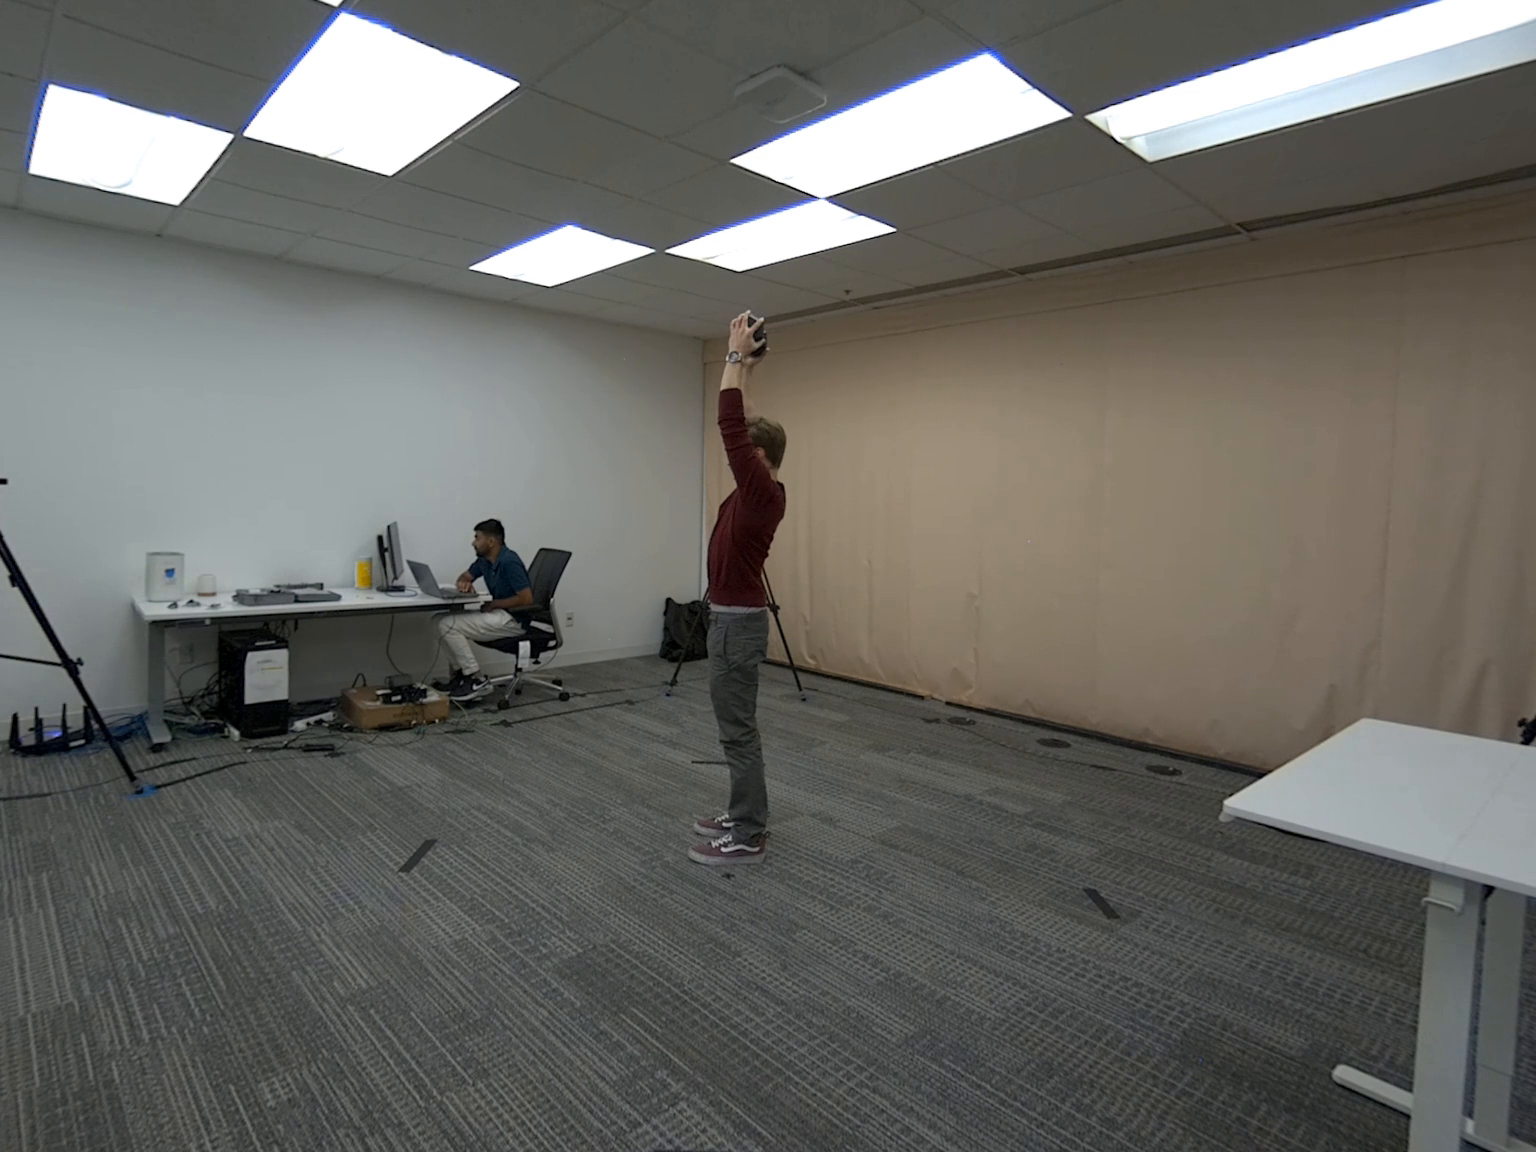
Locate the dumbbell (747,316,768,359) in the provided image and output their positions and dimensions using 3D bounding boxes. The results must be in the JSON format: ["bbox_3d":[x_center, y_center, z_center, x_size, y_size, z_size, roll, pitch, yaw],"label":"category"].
[{"bbox_3d":[-0.062,-0.924,3.288,0.123,0.108,0.293,-26,3,4],"label":"dumbbell"}]
